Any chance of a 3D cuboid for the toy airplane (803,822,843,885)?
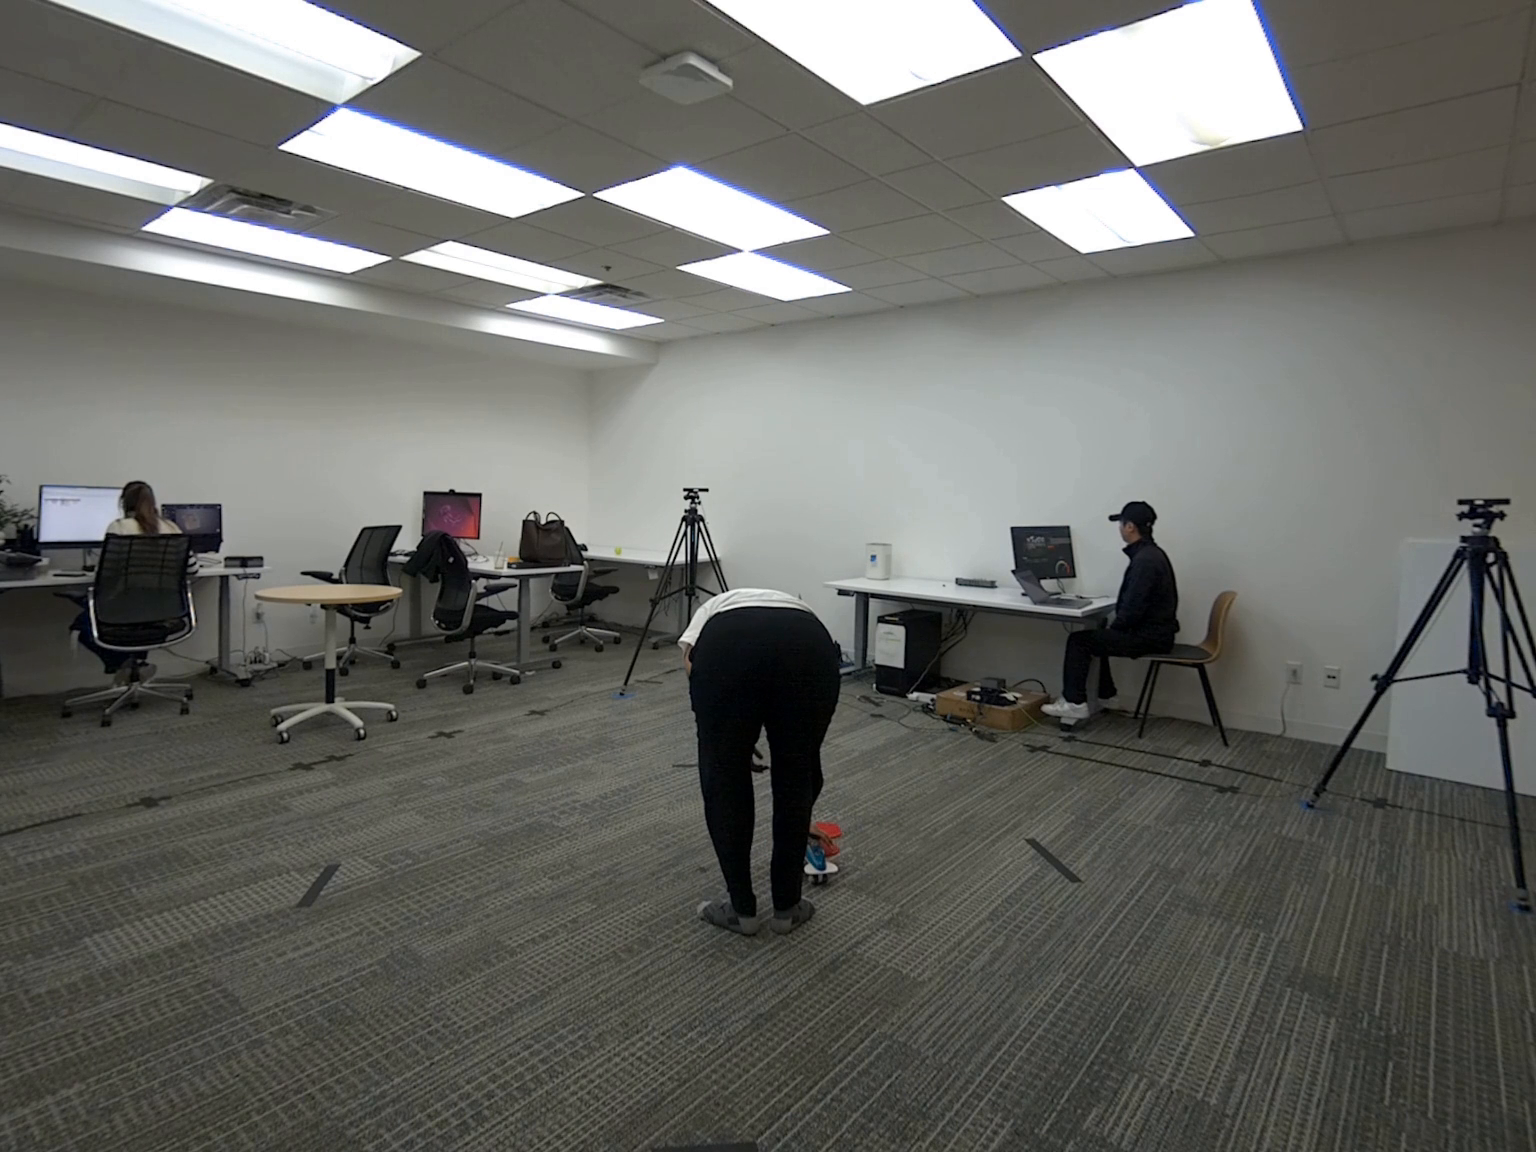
[{"bbox_3d":[0.167,1.007,3.115,0.243,0.156,0.268,-2,6,-43],"label":"toy airplane"}]
